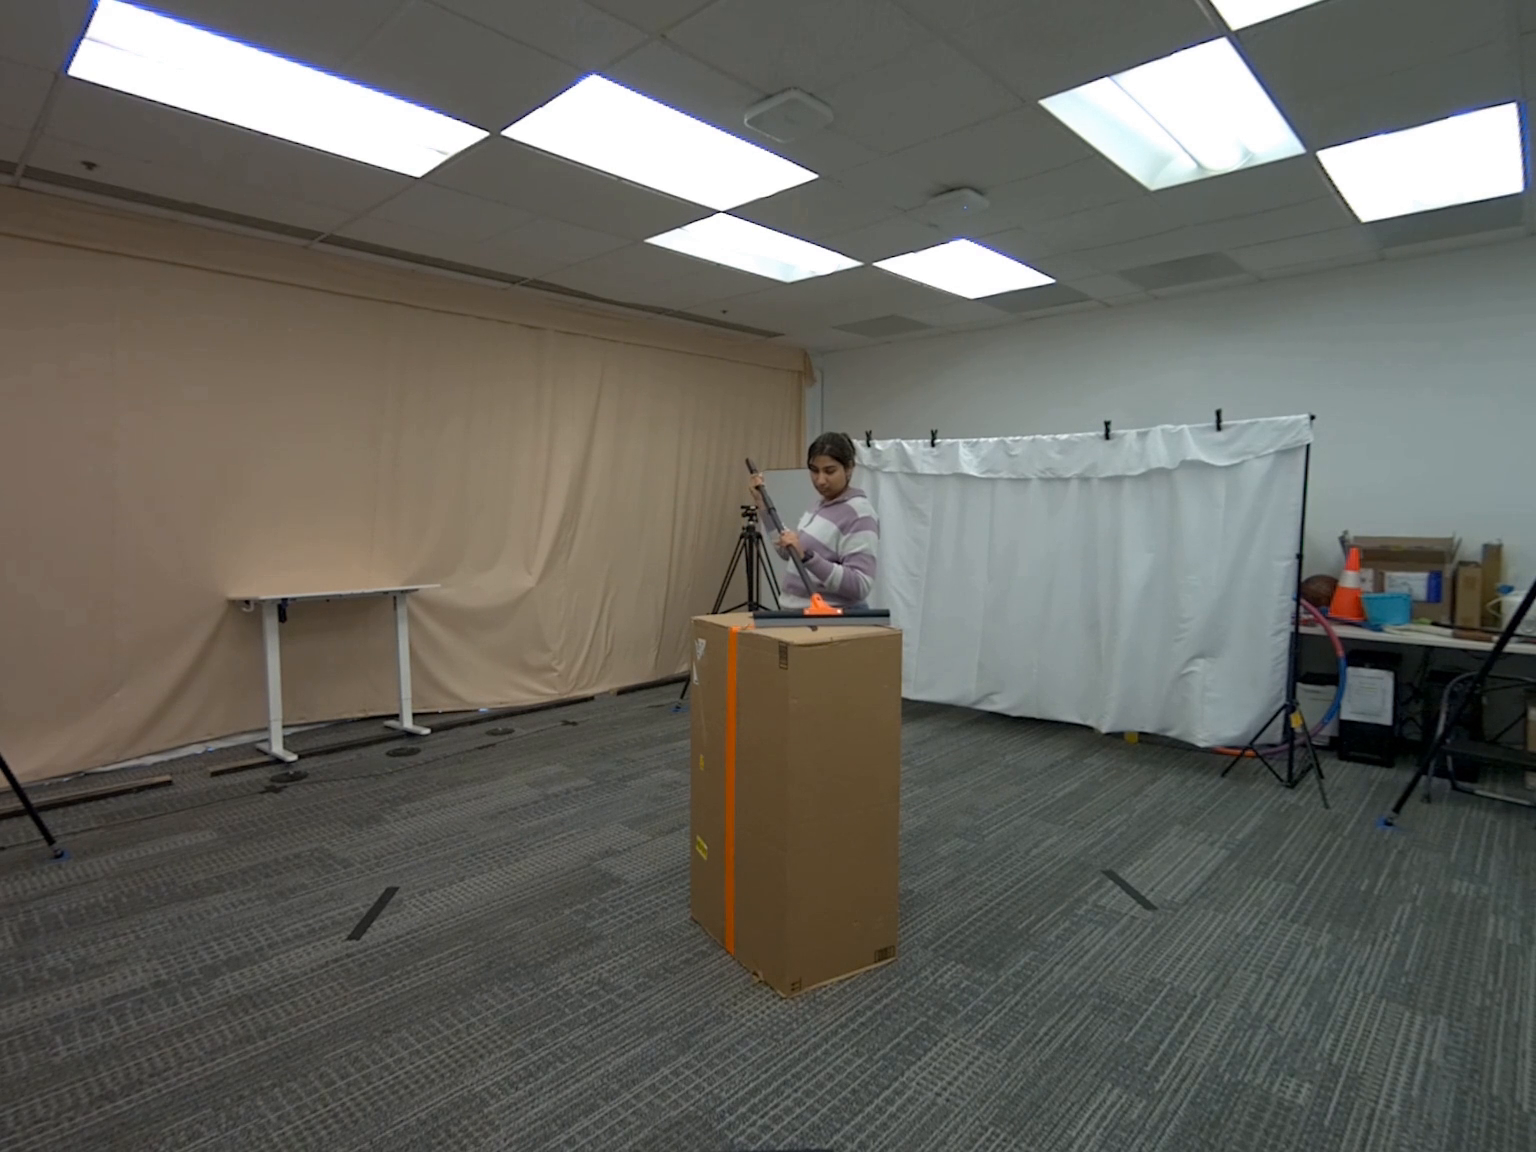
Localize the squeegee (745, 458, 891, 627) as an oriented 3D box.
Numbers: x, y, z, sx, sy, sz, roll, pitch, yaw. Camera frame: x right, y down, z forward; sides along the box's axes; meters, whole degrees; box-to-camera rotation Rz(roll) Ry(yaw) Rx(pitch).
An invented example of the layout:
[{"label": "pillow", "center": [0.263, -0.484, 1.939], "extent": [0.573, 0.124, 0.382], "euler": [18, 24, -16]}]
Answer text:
[{"label": "squeegee", "center": [0.034, -0.208, 3.271], "extent": [0.434, 0.052, 1.570], "euler": [-1, 27, -8]}]
